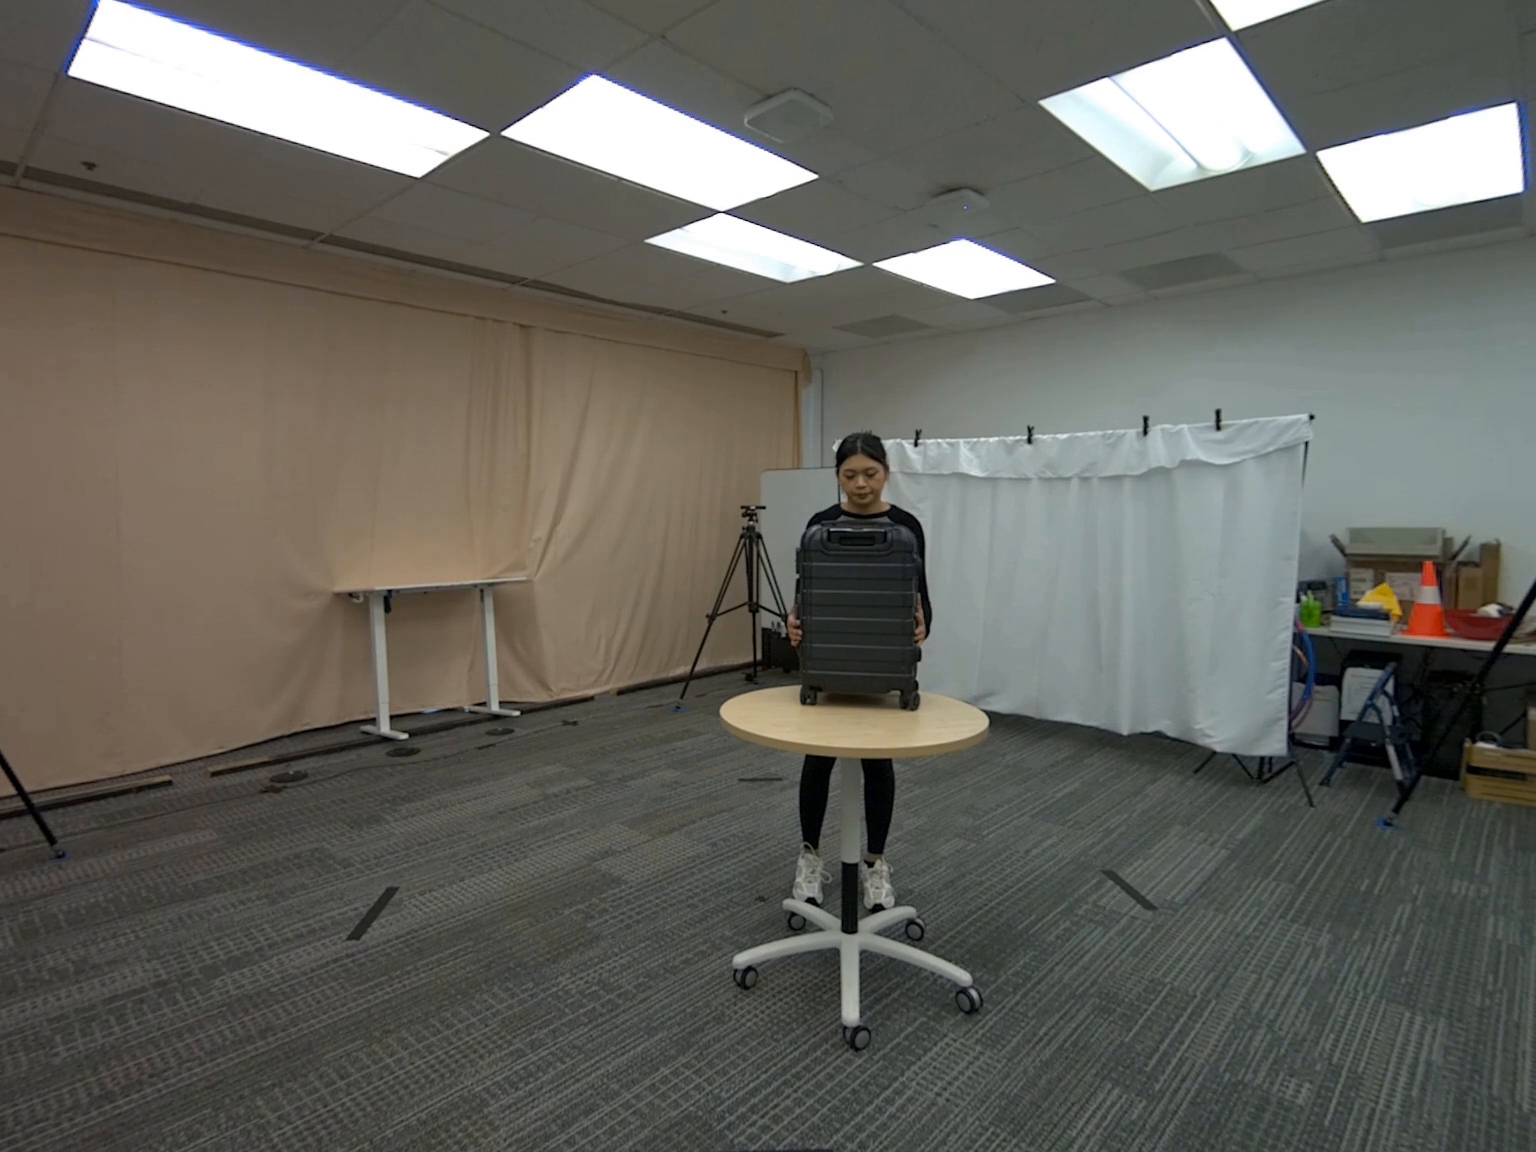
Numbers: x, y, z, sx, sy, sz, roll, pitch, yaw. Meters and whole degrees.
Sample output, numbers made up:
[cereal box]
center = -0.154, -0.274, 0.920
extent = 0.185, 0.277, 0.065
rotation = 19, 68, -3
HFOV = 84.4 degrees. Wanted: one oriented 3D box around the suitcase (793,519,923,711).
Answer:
[suitcase]
center = 0.272, 0.106, 2.584
extent = 0.380, 0.548, 0.246
rotation = 0, 4, 11
